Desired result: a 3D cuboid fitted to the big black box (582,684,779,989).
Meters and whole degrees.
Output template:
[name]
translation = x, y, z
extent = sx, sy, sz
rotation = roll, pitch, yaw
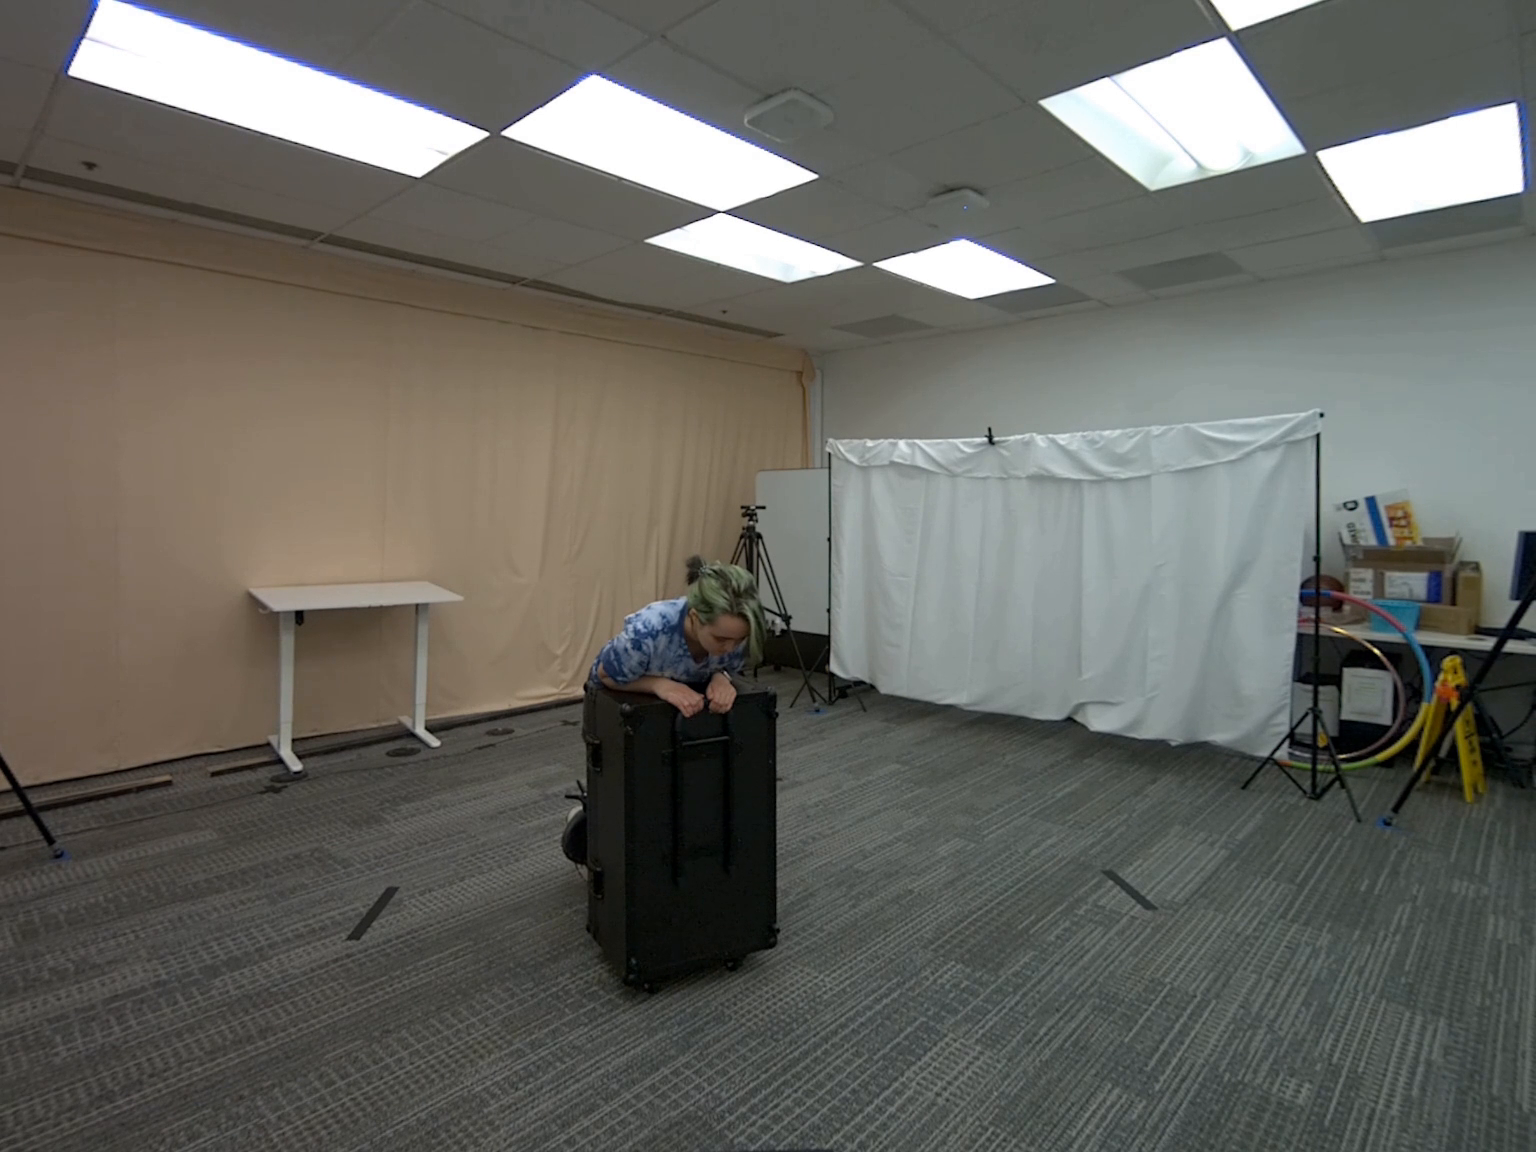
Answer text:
[big black box]
translation = -0.257, 0.708, 2.539
extent = 0.508, 0.859, 0.407
rotation = -2, 4, -28
